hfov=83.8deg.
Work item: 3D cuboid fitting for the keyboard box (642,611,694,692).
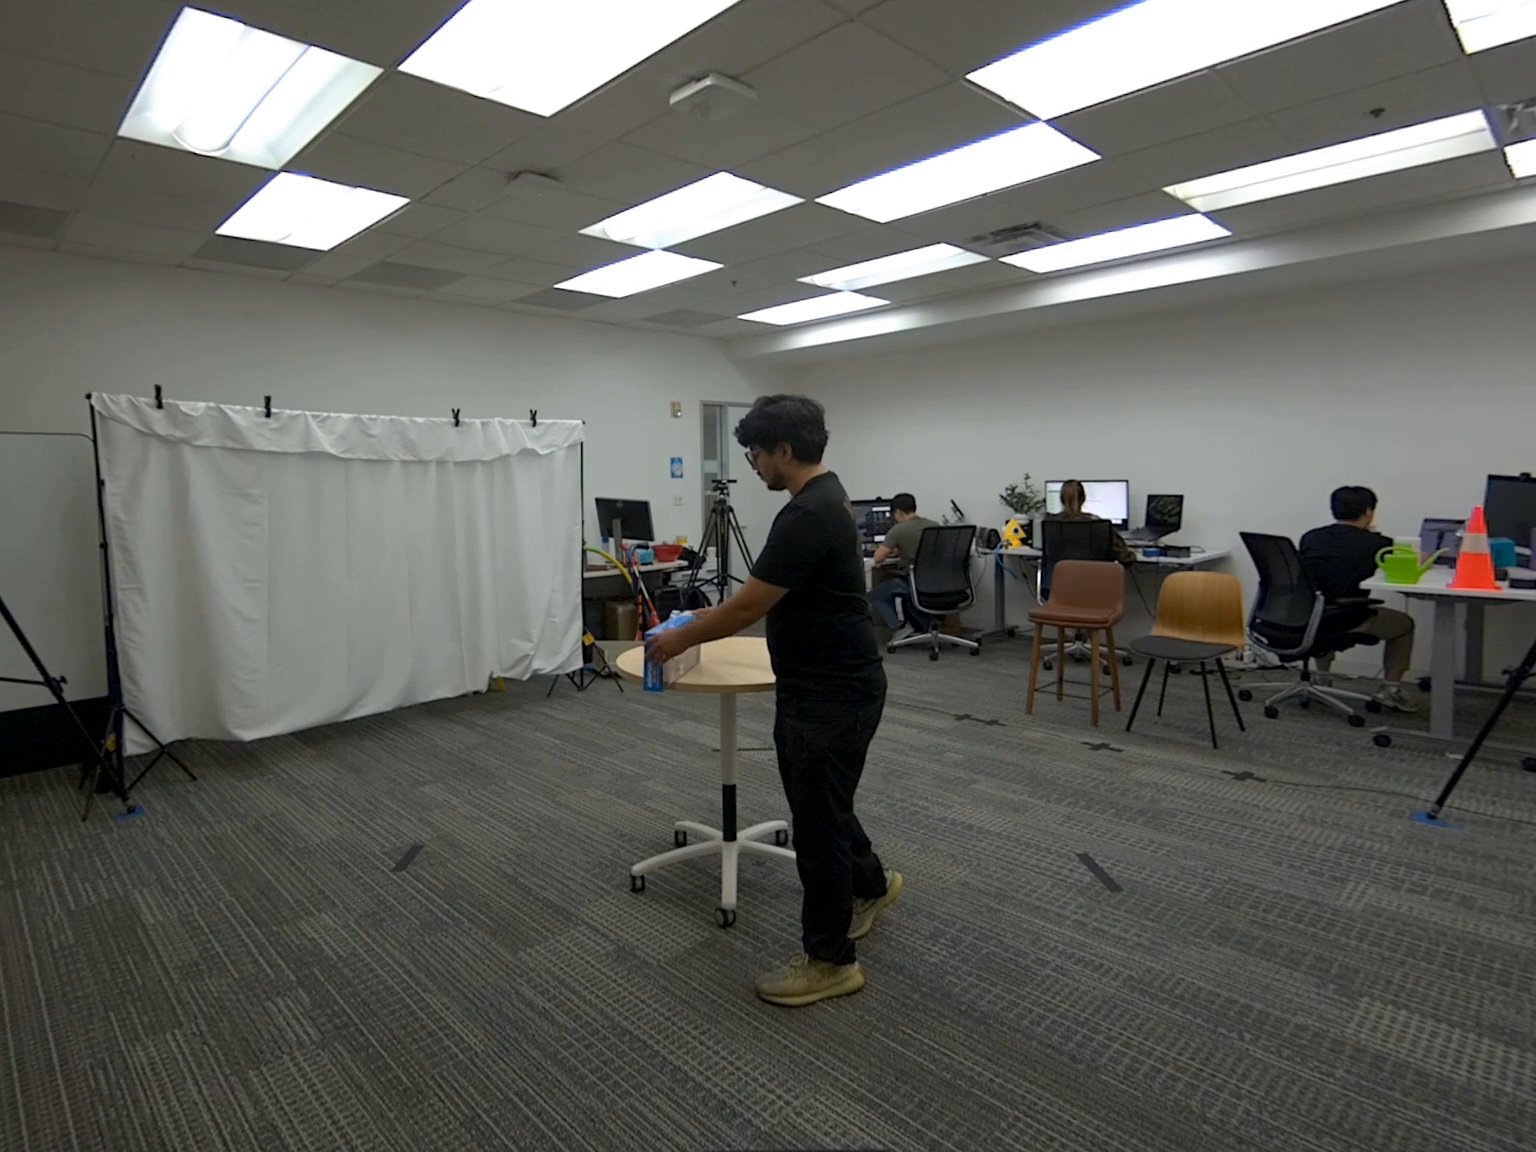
[{"bbox_3d":[-0.290,0.230,2.681,0.060,0.175,0.434,1,6,9],"label":"keyboard box"}]
